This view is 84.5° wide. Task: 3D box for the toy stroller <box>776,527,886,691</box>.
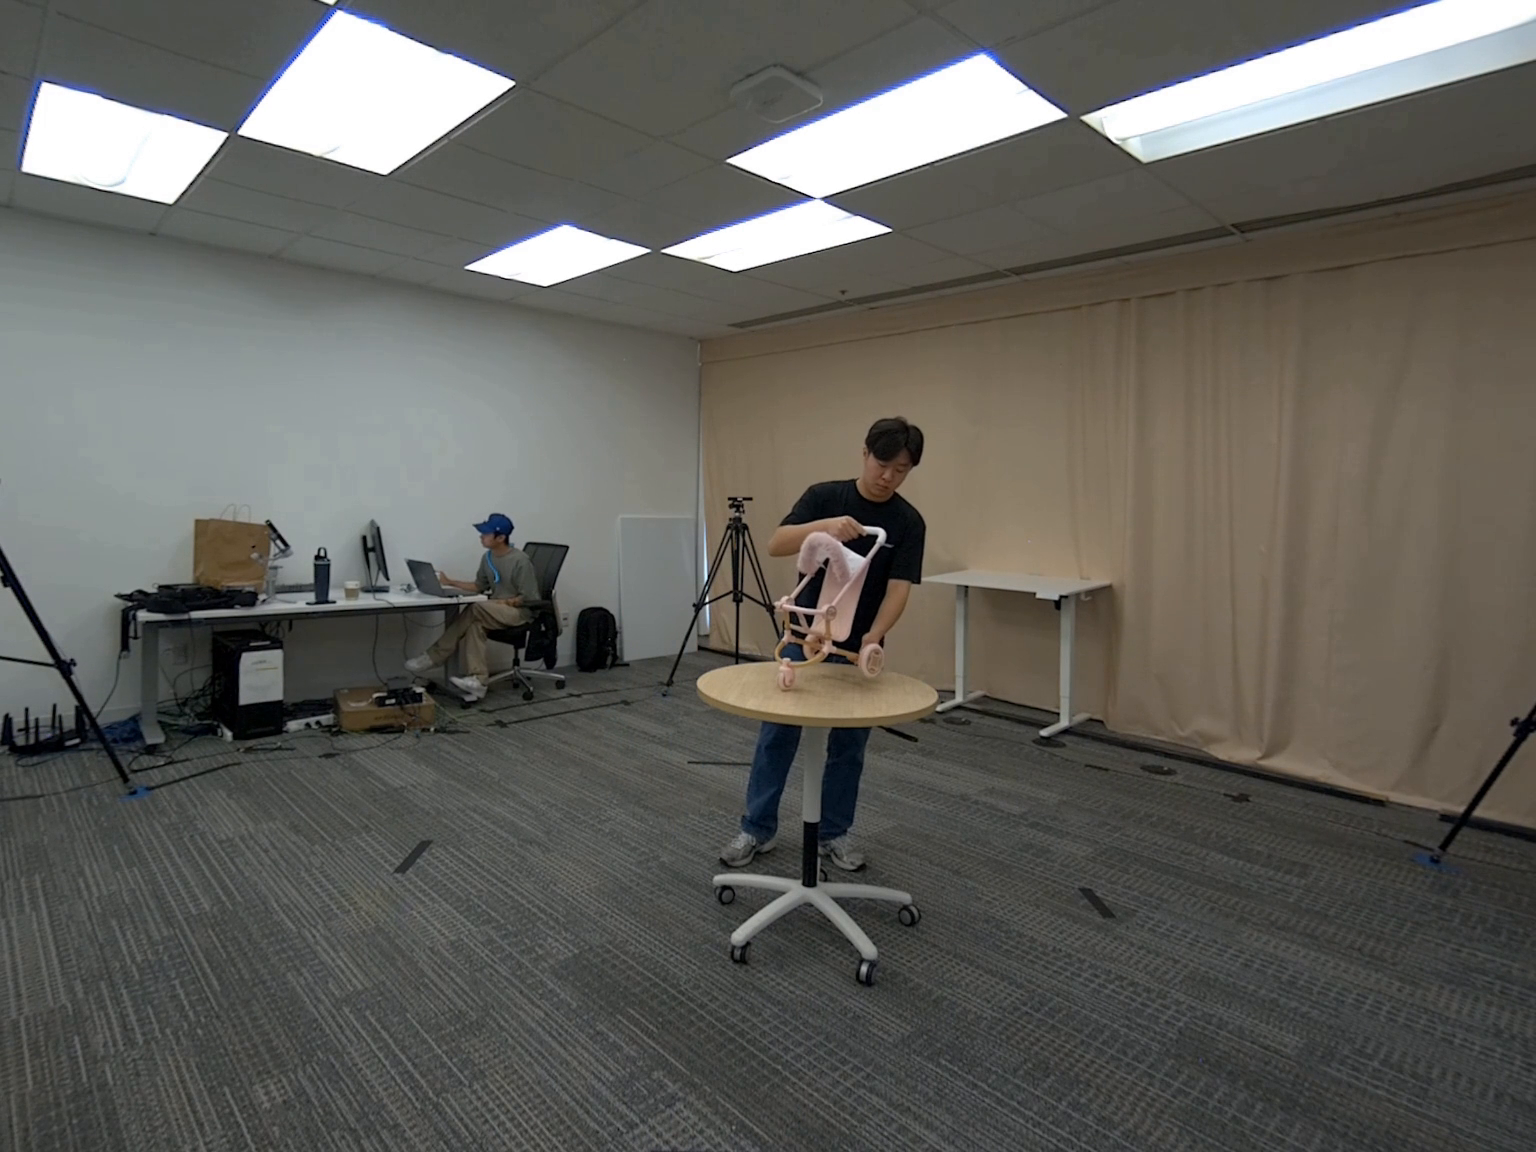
[{"bbox_3d":[0.174,0.102,2.695,0.333,0.534,0.289,4,4,-35],"label":"toy stroller"}]
